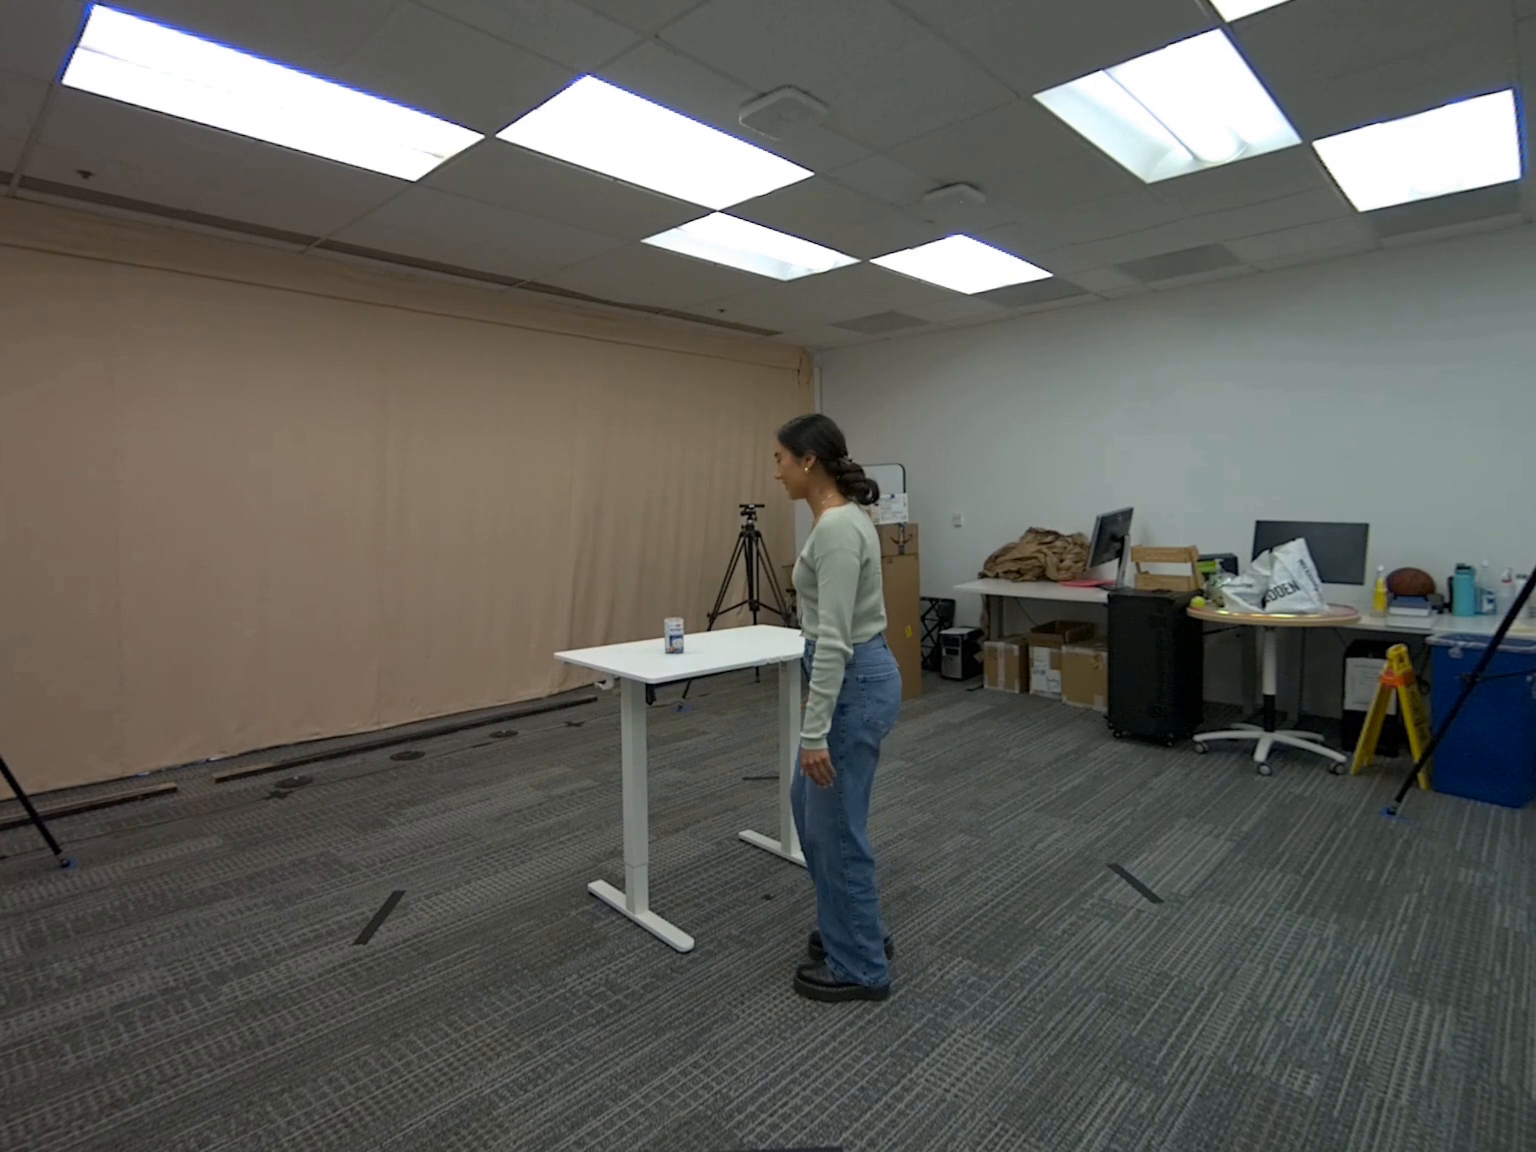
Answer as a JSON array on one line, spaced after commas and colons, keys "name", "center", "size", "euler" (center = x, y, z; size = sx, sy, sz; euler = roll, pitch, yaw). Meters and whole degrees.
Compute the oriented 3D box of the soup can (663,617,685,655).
[{"name": "soup can", "center": [-0.331, 0.211, 2.913], "size": [0.067, 0.121, 0.067], "euler": [-3, 5, -2]}]
